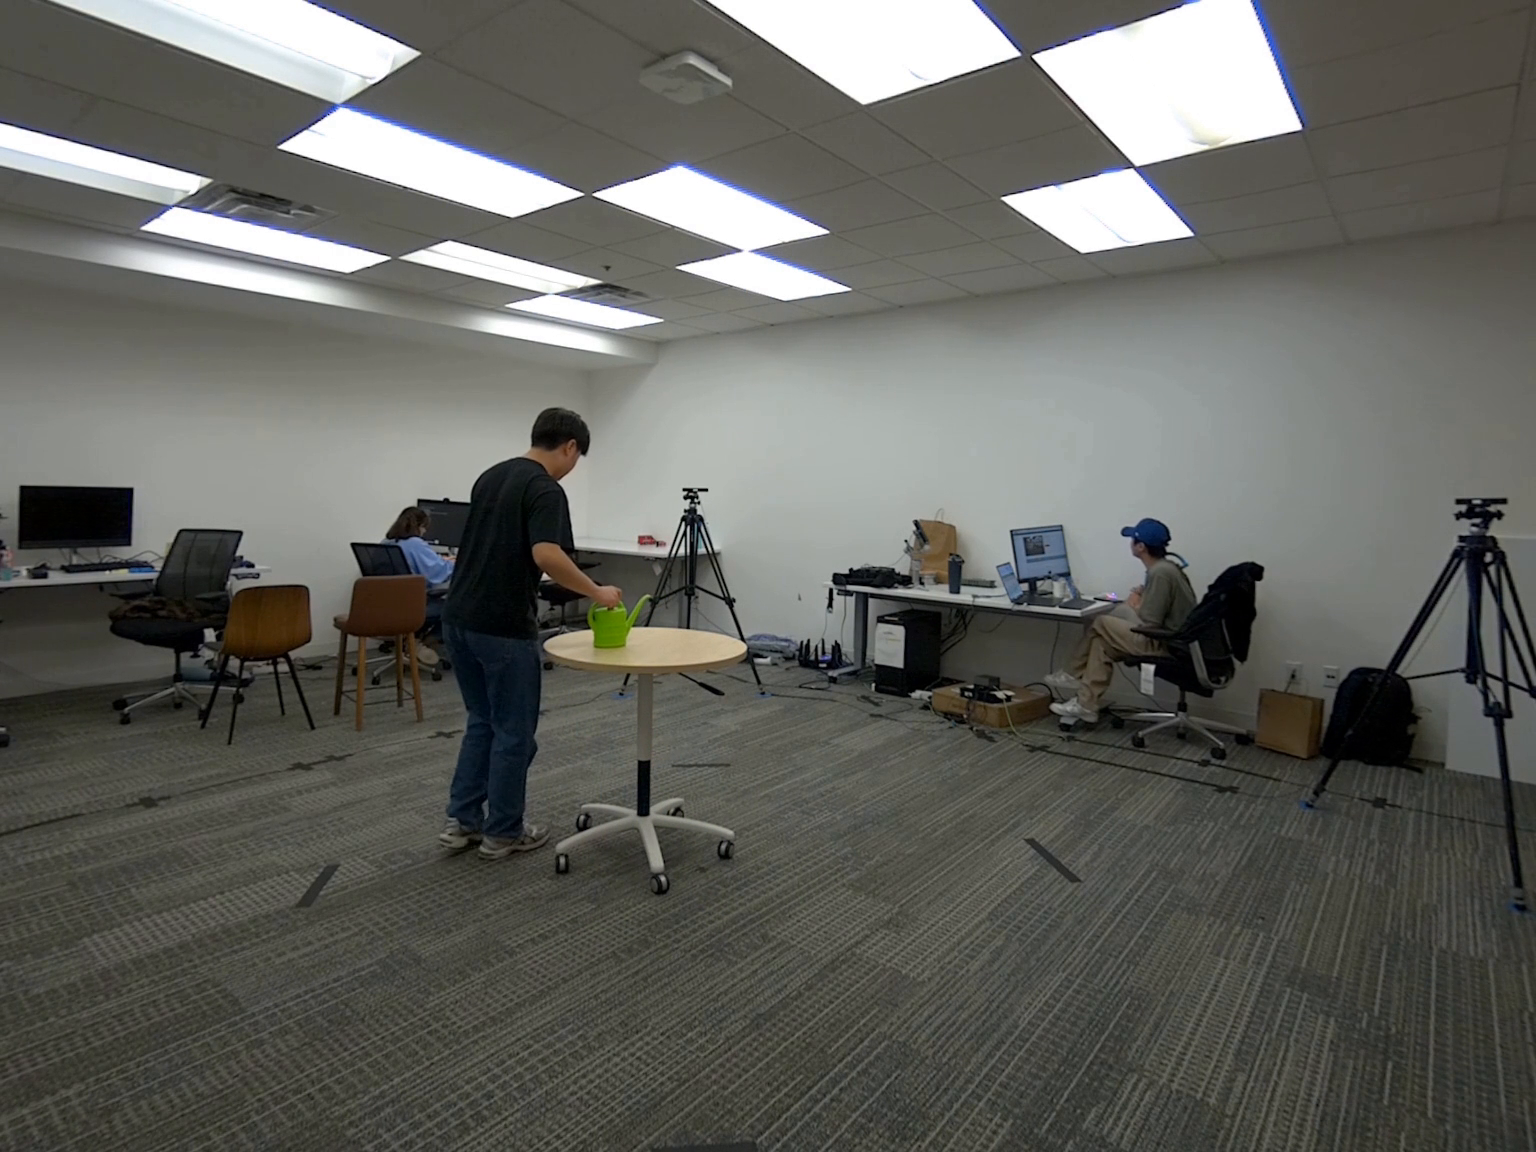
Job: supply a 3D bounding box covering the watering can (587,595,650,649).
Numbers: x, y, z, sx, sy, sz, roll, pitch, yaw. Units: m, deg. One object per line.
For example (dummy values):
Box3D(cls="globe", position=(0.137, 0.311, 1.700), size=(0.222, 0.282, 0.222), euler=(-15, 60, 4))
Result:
Box3D(cls="watering can", position=(-0.566, 0.174, 3.191), size=(0.272, 0.176, 0.101), euler=(-4, 8, -27))
